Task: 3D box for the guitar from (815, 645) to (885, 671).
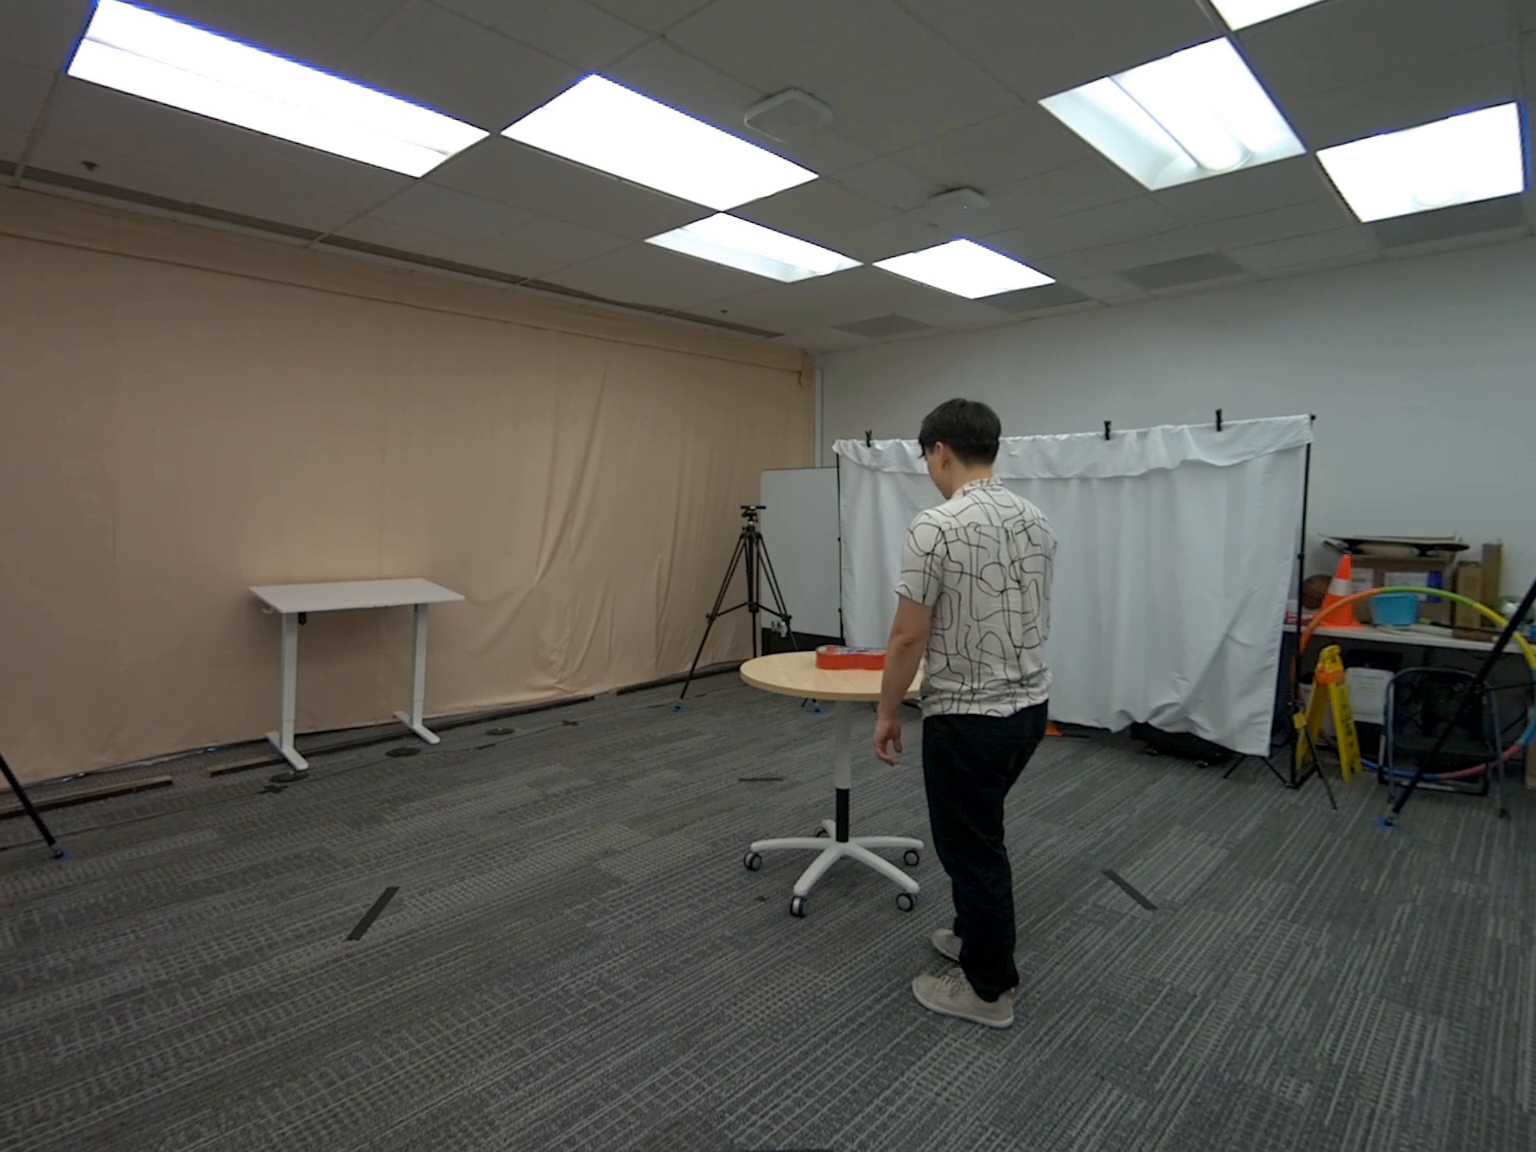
[{"bbox_3d":[0.435,0.313,3.141,0.508,0.070,0.189,1,4,18],"label":"guitar"}]
